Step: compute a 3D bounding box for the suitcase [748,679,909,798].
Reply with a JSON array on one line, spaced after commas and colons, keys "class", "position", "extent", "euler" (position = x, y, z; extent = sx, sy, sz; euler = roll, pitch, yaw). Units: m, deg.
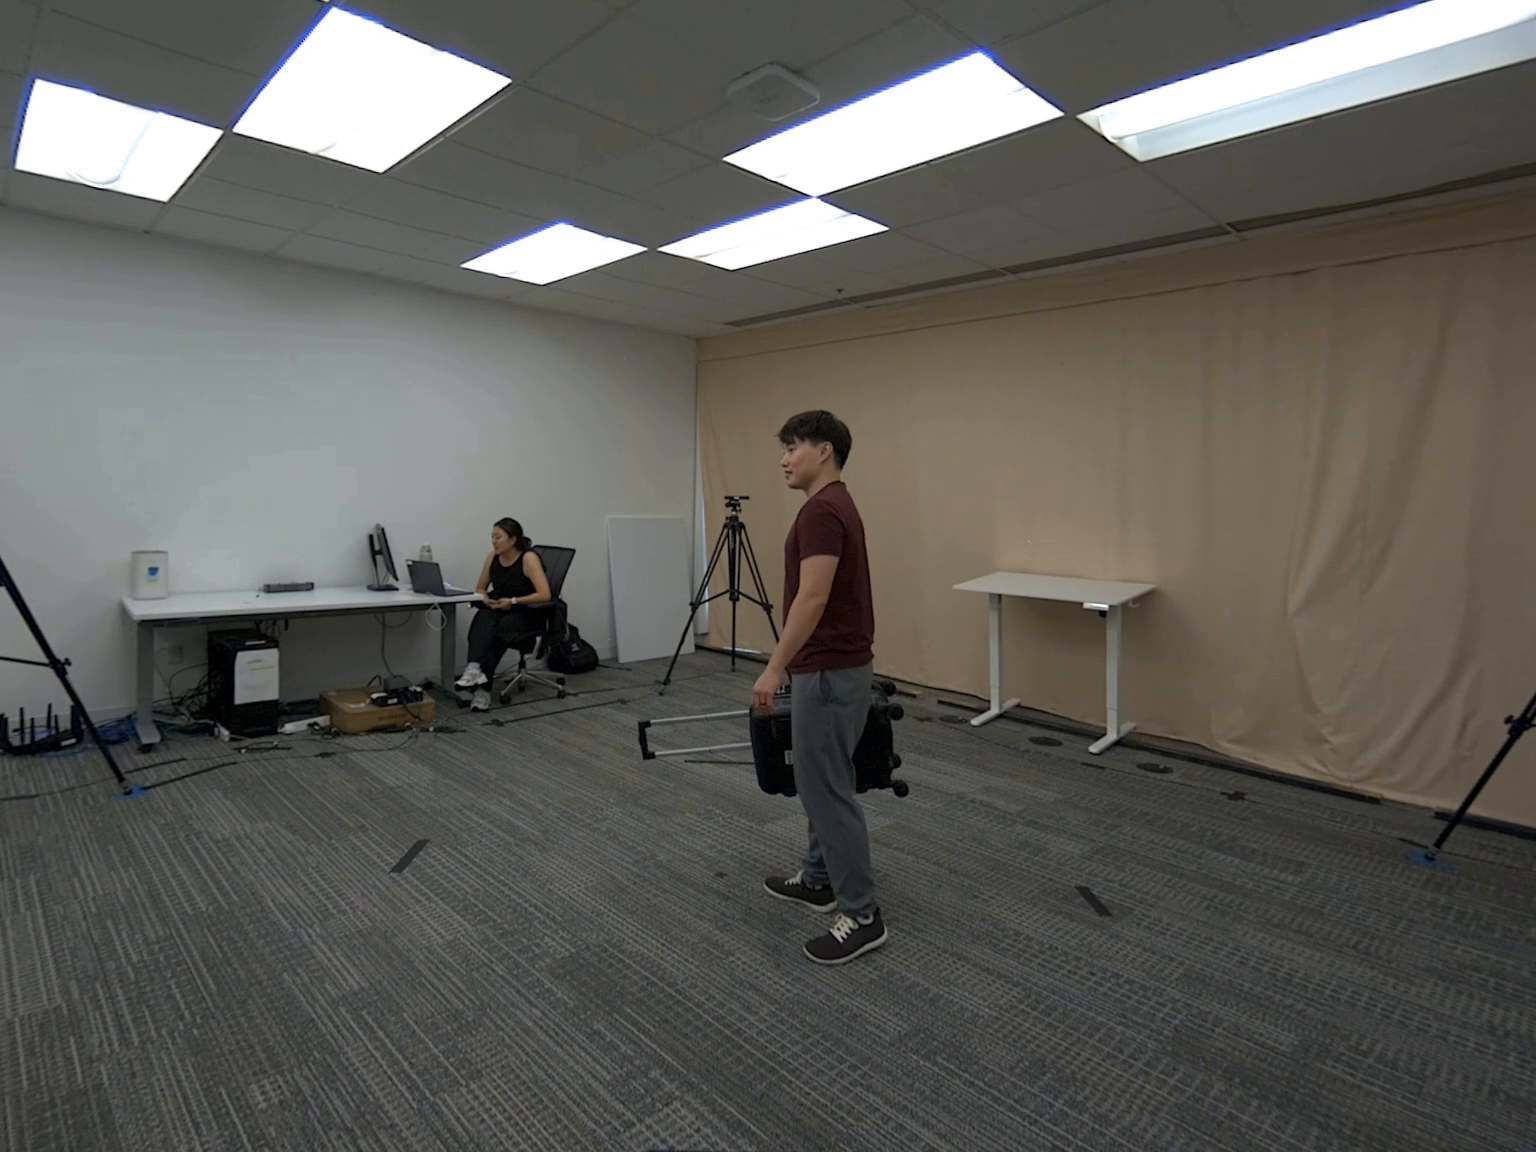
[{"class": "suitcase", "position": [-0.005, 0.600, 3.090], "extent": [0.981, 0.381, 0.259], "euler": [-4, 11, 3]}]
